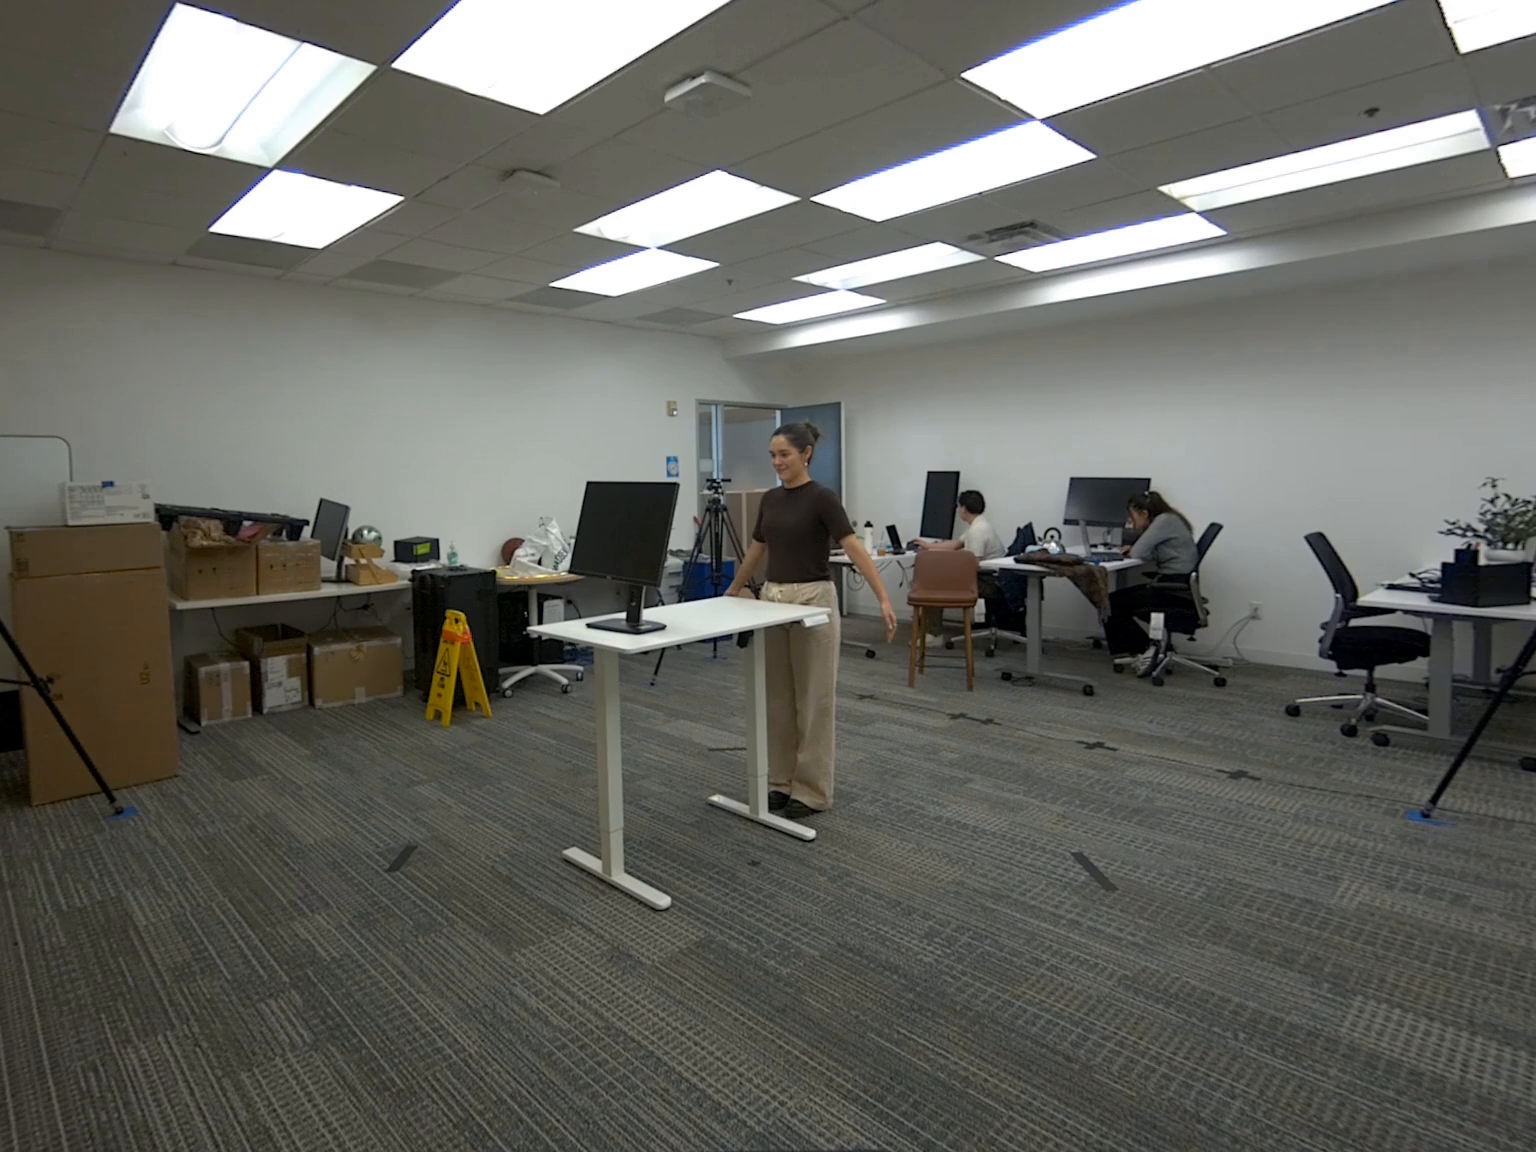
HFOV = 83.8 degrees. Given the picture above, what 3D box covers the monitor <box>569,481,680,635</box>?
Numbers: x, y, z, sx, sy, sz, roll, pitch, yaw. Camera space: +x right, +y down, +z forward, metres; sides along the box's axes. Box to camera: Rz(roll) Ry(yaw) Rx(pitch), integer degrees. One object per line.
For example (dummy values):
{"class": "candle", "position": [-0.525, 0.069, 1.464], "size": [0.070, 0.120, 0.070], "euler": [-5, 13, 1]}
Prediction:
{"class": "monitor", "position": [-0.494, -0.068, 3.002], "size": [0.556, 0.521, 0.182], "euler": [5, 4, 44]}
